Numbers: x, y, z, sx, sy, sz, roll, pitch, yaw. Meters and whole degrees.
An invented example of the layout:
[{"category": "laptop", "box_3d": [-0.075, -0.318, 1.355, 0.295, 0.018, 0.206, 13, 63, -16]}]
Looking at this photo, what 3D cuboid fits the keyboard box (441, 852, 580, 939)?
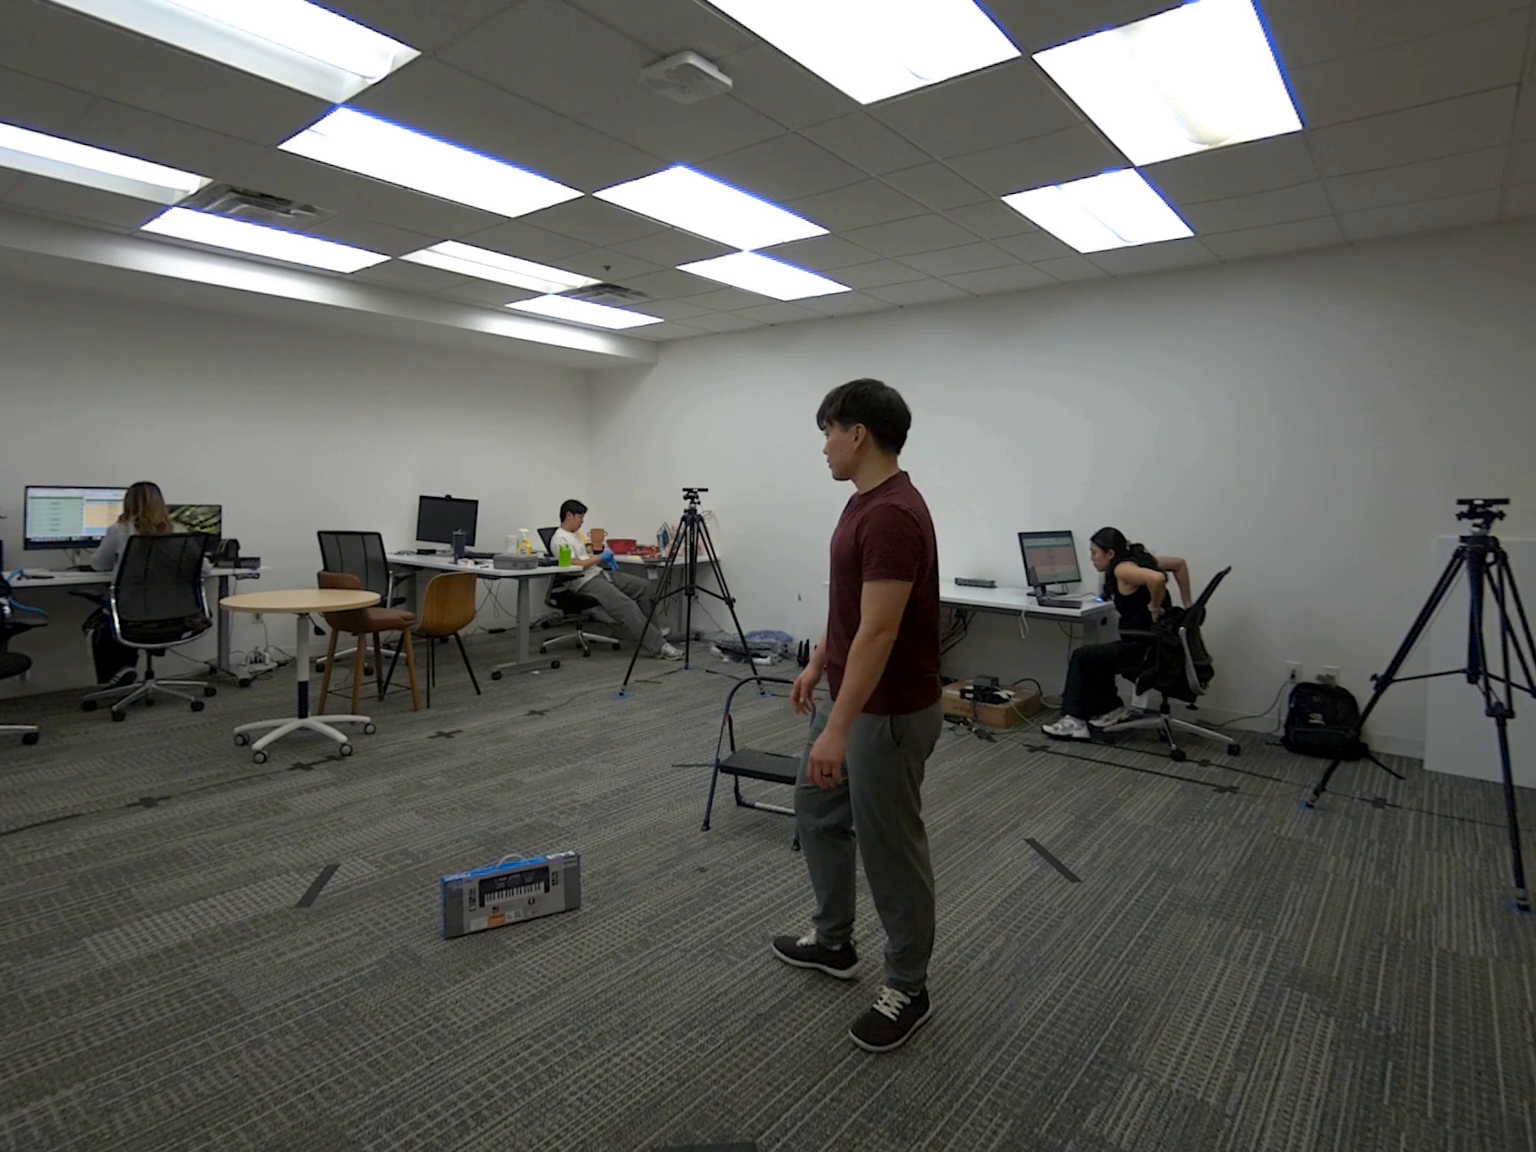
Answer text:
[{"category": "keyboard box", "box_3d": [-0.823, 1.011, 2.722, 0.425, 0.176, 0.060, -2, -3, -29]}]
